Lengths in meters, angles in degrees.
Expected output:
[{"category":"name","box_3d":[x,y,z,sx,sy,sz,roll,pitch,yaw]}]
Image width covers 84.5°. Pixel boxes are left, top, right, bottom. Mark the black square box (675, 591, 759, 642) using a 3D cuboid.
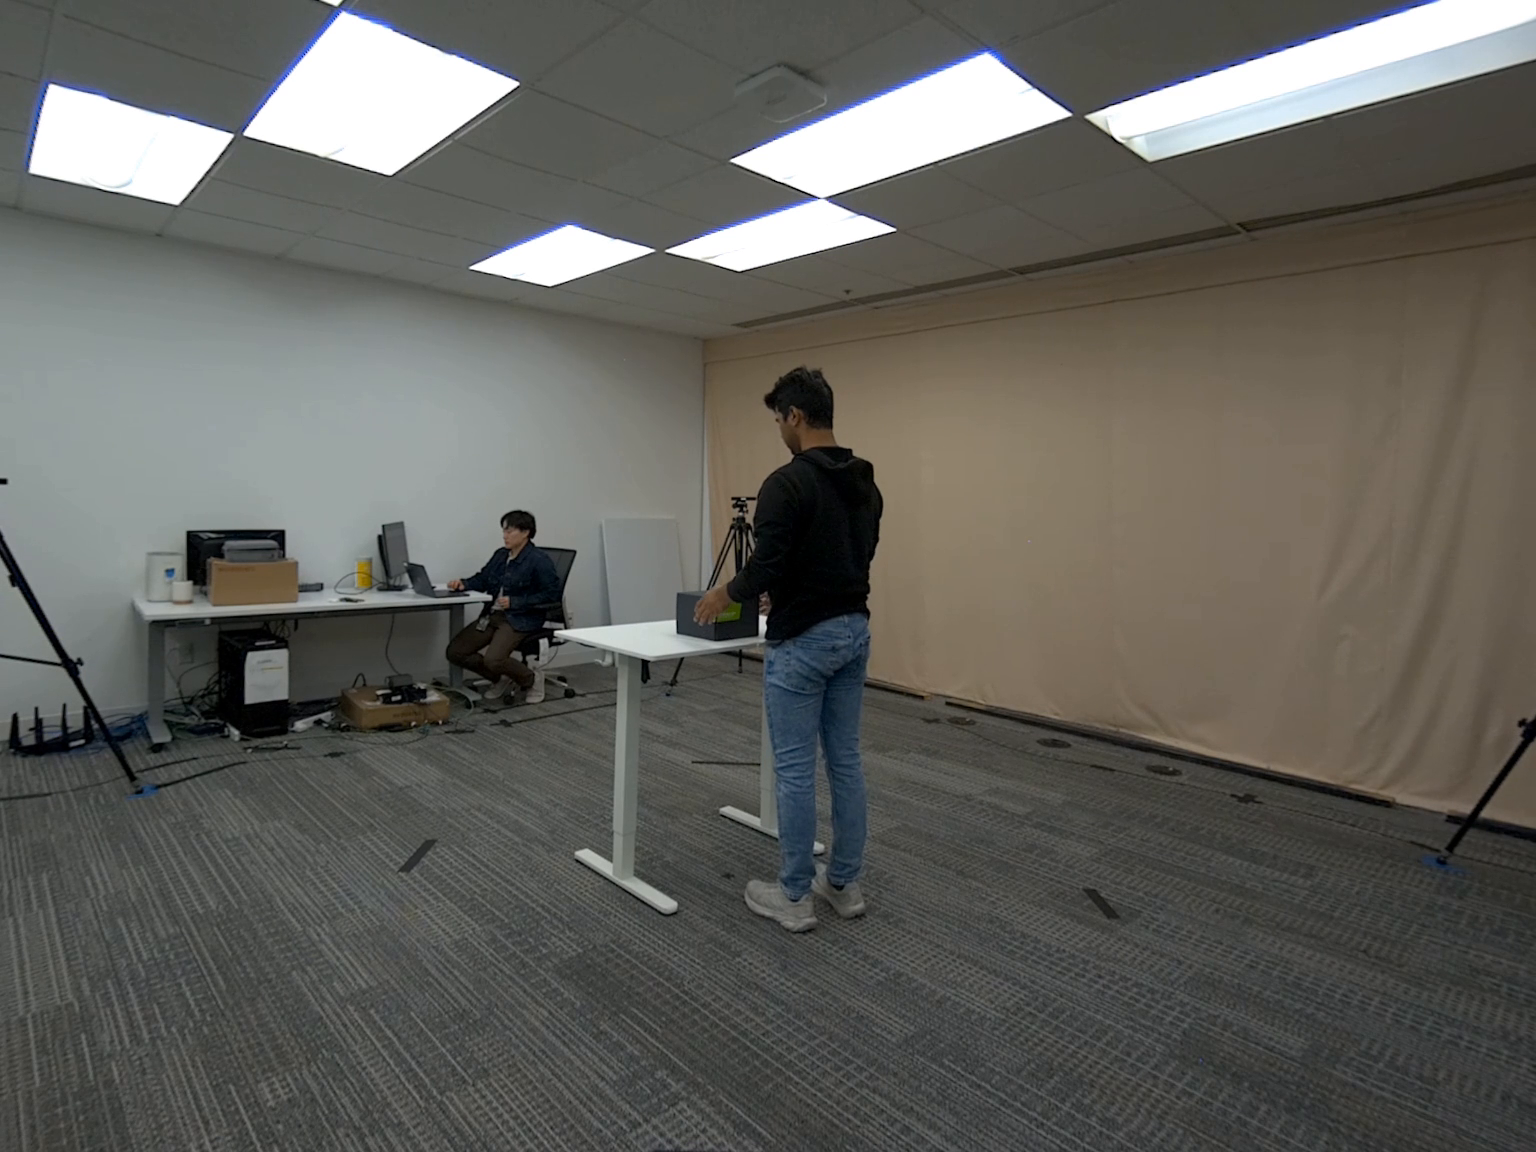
[{"category":"black square box","box_3d":[-0.194,0.142,3.137,0.222,0.155,0.223,6,6,43]}]
